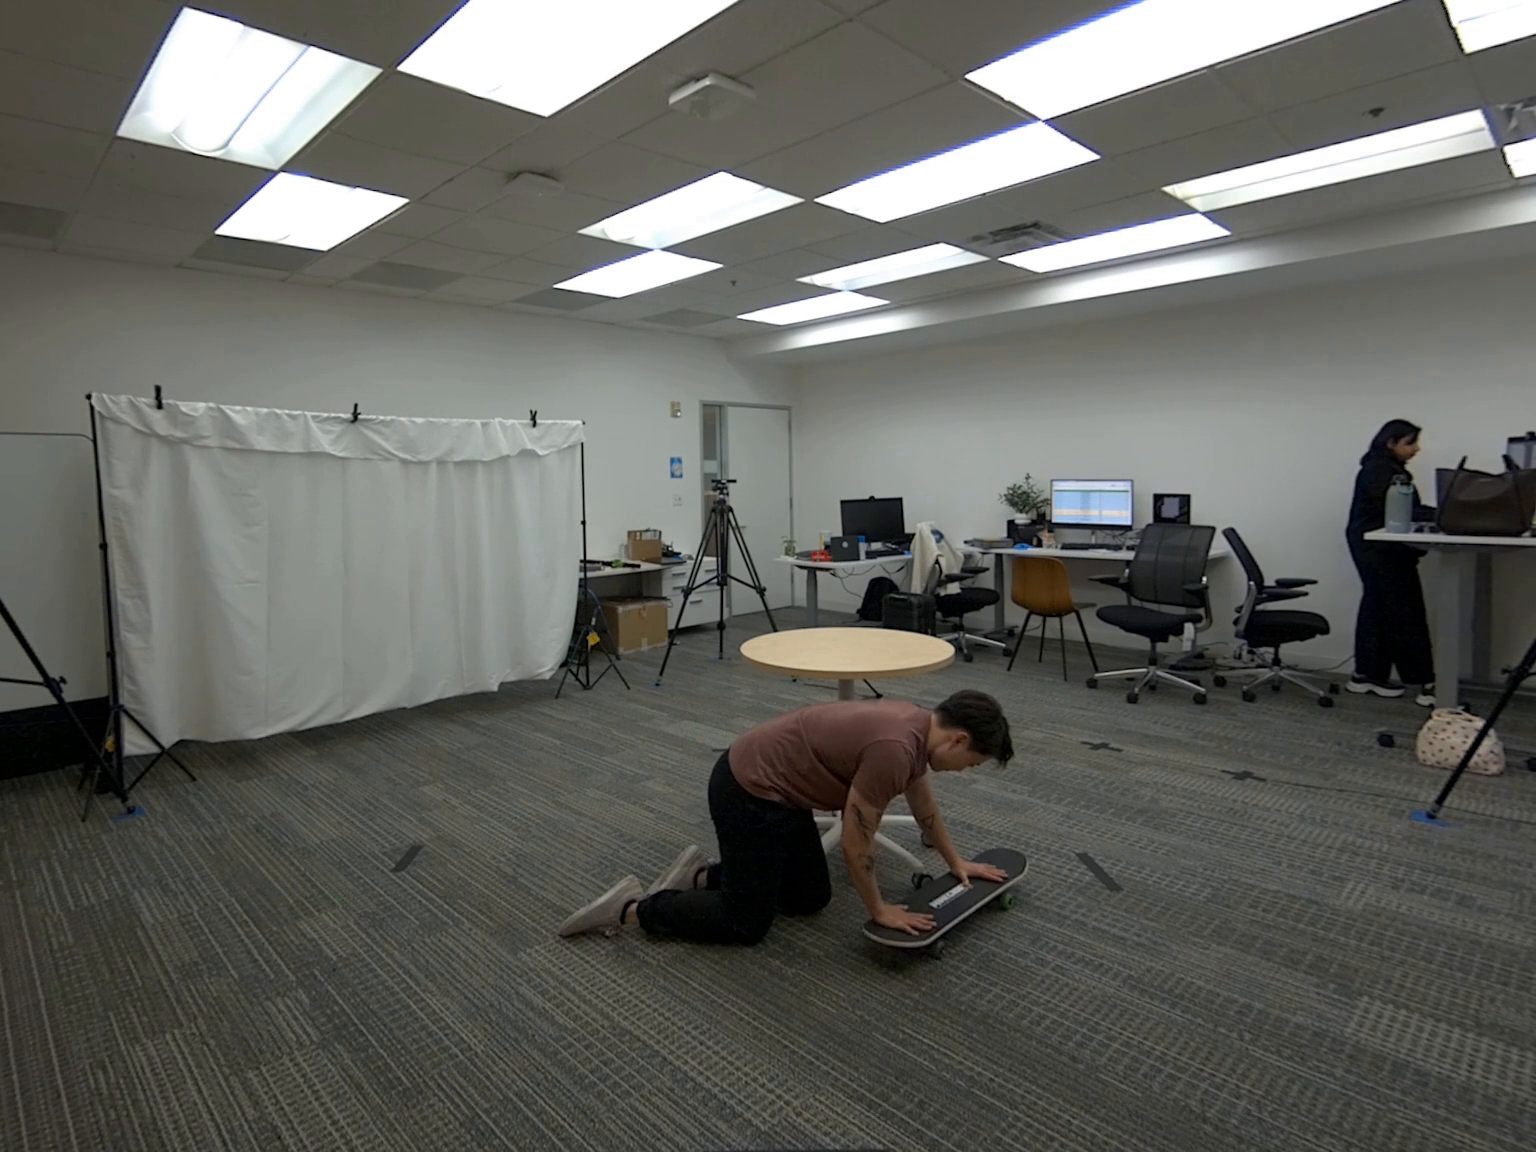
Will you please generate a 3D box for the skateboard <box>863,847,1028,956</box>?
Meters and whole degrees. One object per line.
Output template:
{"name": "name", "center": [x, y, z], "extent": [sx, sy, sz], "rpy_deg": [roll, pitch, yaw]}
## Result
{"name": "skateboard", "center": [0.579, 1.019, 2.680], "extent": [0.199, 0.110, 0.765], "rpy_deg": [3, 7, 45]}
